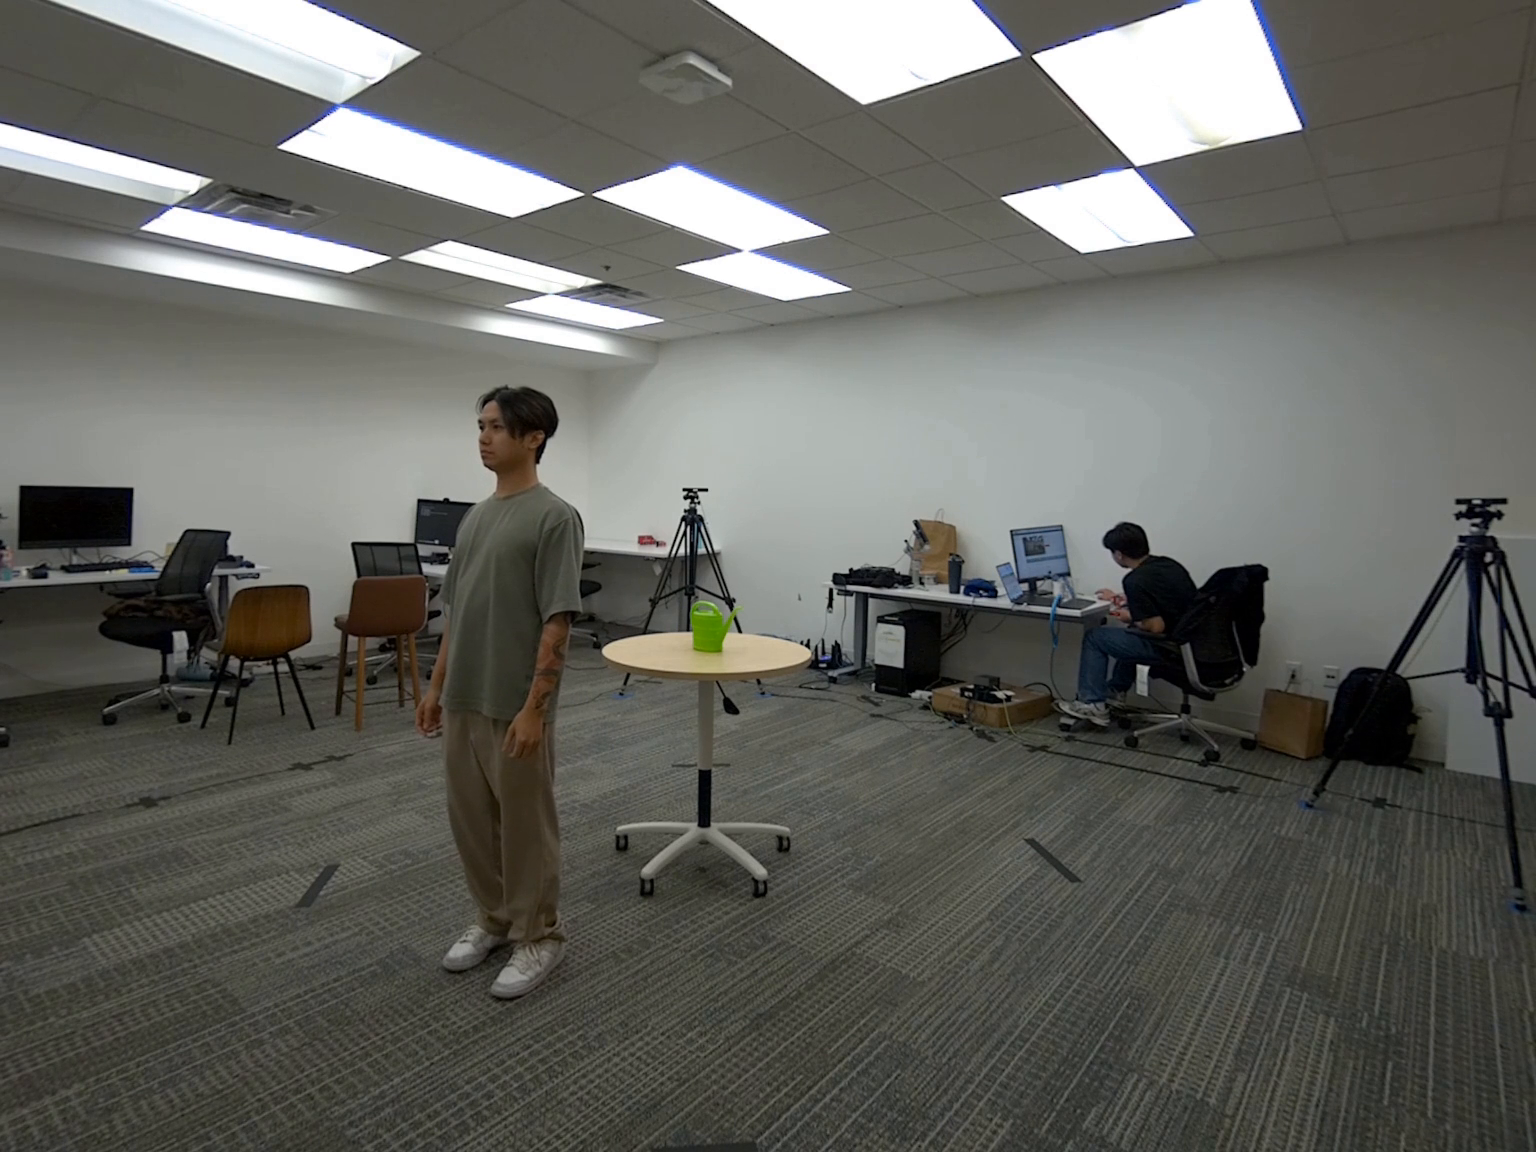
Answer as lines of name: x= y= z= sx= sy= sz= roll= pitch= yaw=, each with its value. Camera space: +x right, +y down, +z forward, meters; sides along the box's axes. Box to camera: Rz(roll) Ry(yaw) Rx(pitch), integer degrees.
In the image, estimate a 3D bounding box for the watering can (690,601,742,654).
watering can: x=-0.212 y=0.184 z=3.103 sx=0.095 sy=0.176 sz=0.286 roll=-2 pitch=4 yaw=-31
